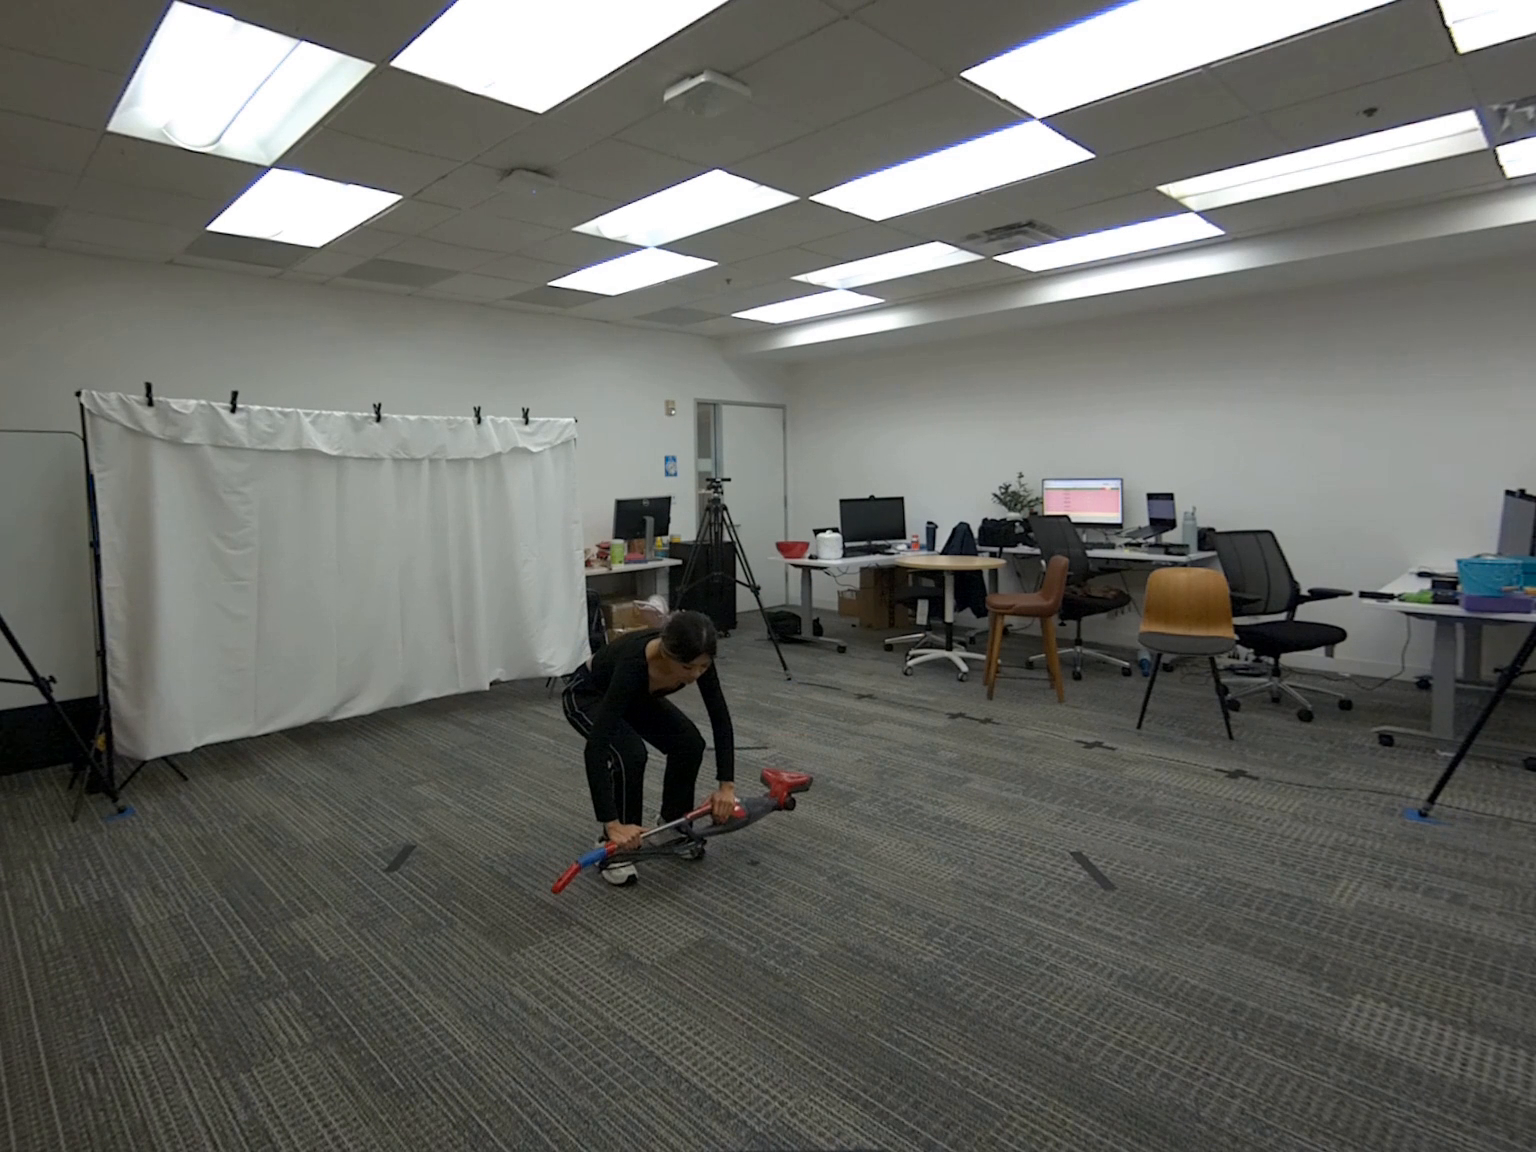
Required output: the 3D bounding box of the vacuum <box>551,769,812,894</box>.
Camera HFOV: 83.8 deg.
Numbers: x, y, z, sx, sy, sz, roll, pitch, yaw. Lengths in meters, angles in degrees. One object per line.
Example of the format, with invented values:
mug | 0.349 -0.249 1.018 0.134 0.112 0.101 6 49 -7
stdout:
vacuum | -0.279 0.891 2.936 0.259 0.144 1.024 -8 2 44
